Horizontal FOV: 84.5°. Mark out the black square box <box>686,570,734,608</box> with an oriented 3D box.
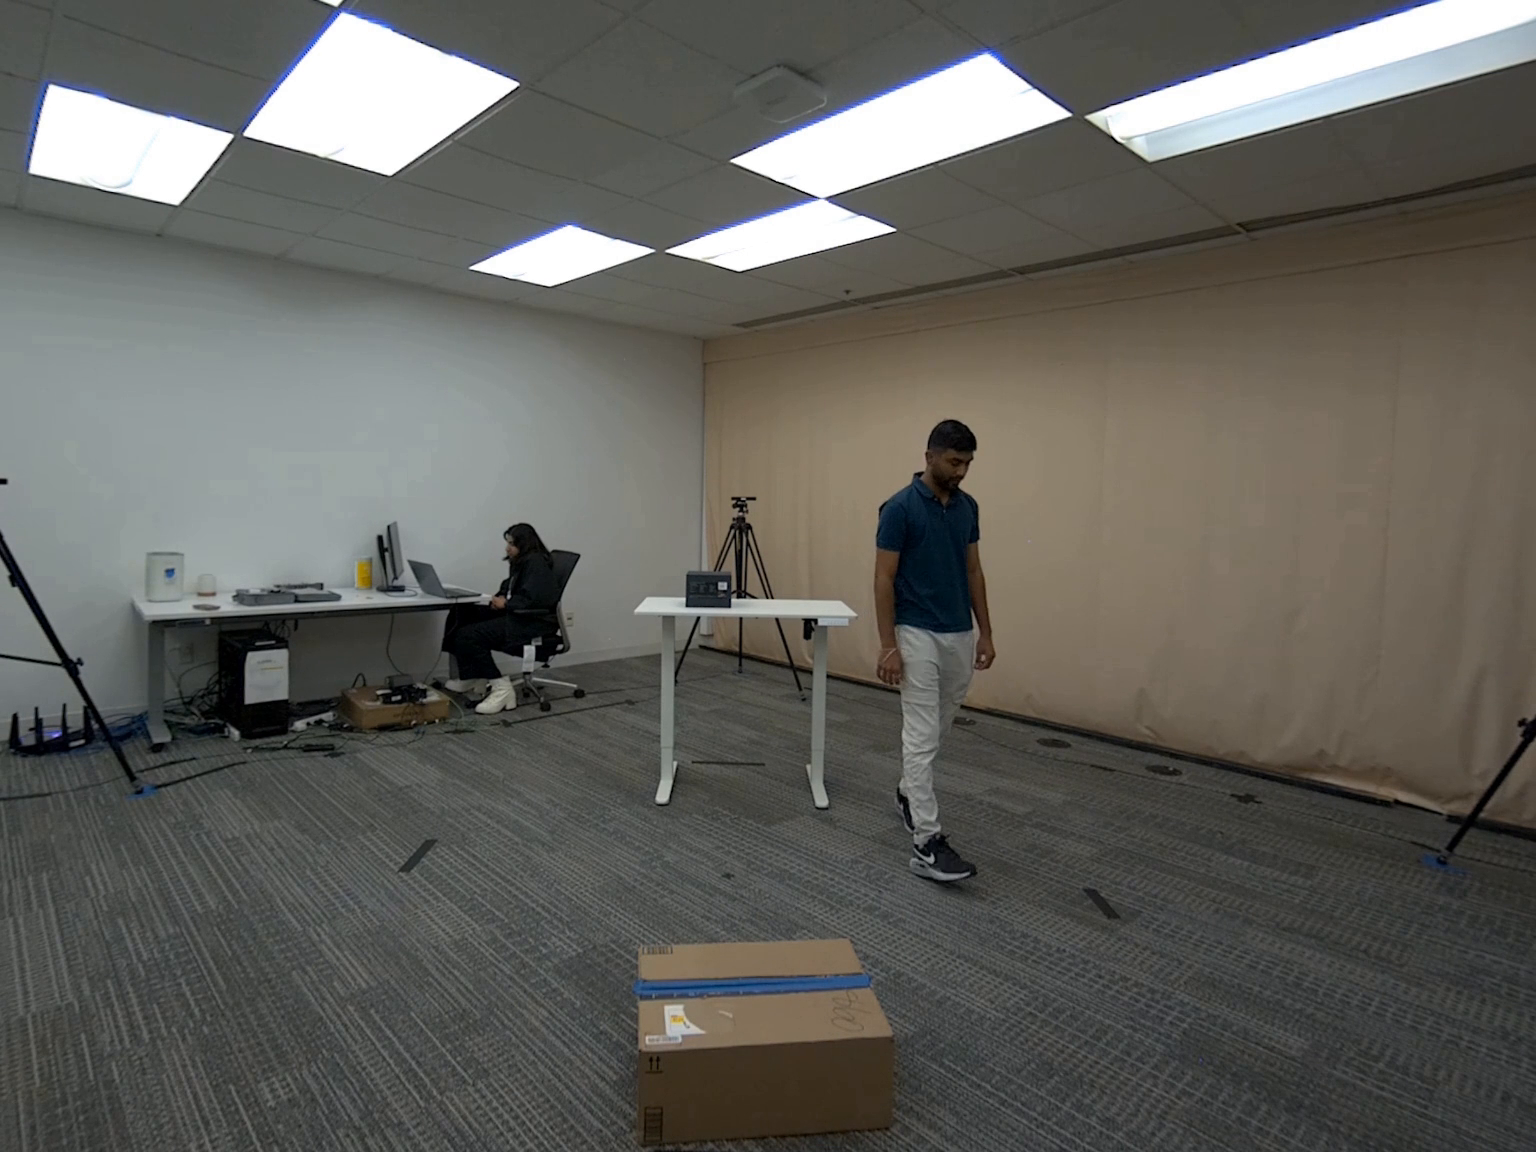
[{"bbox_3d":[-0.280,0.058,4.057,0.216,0.155,0.229,1,4,-3],"label":"black square box"}]
